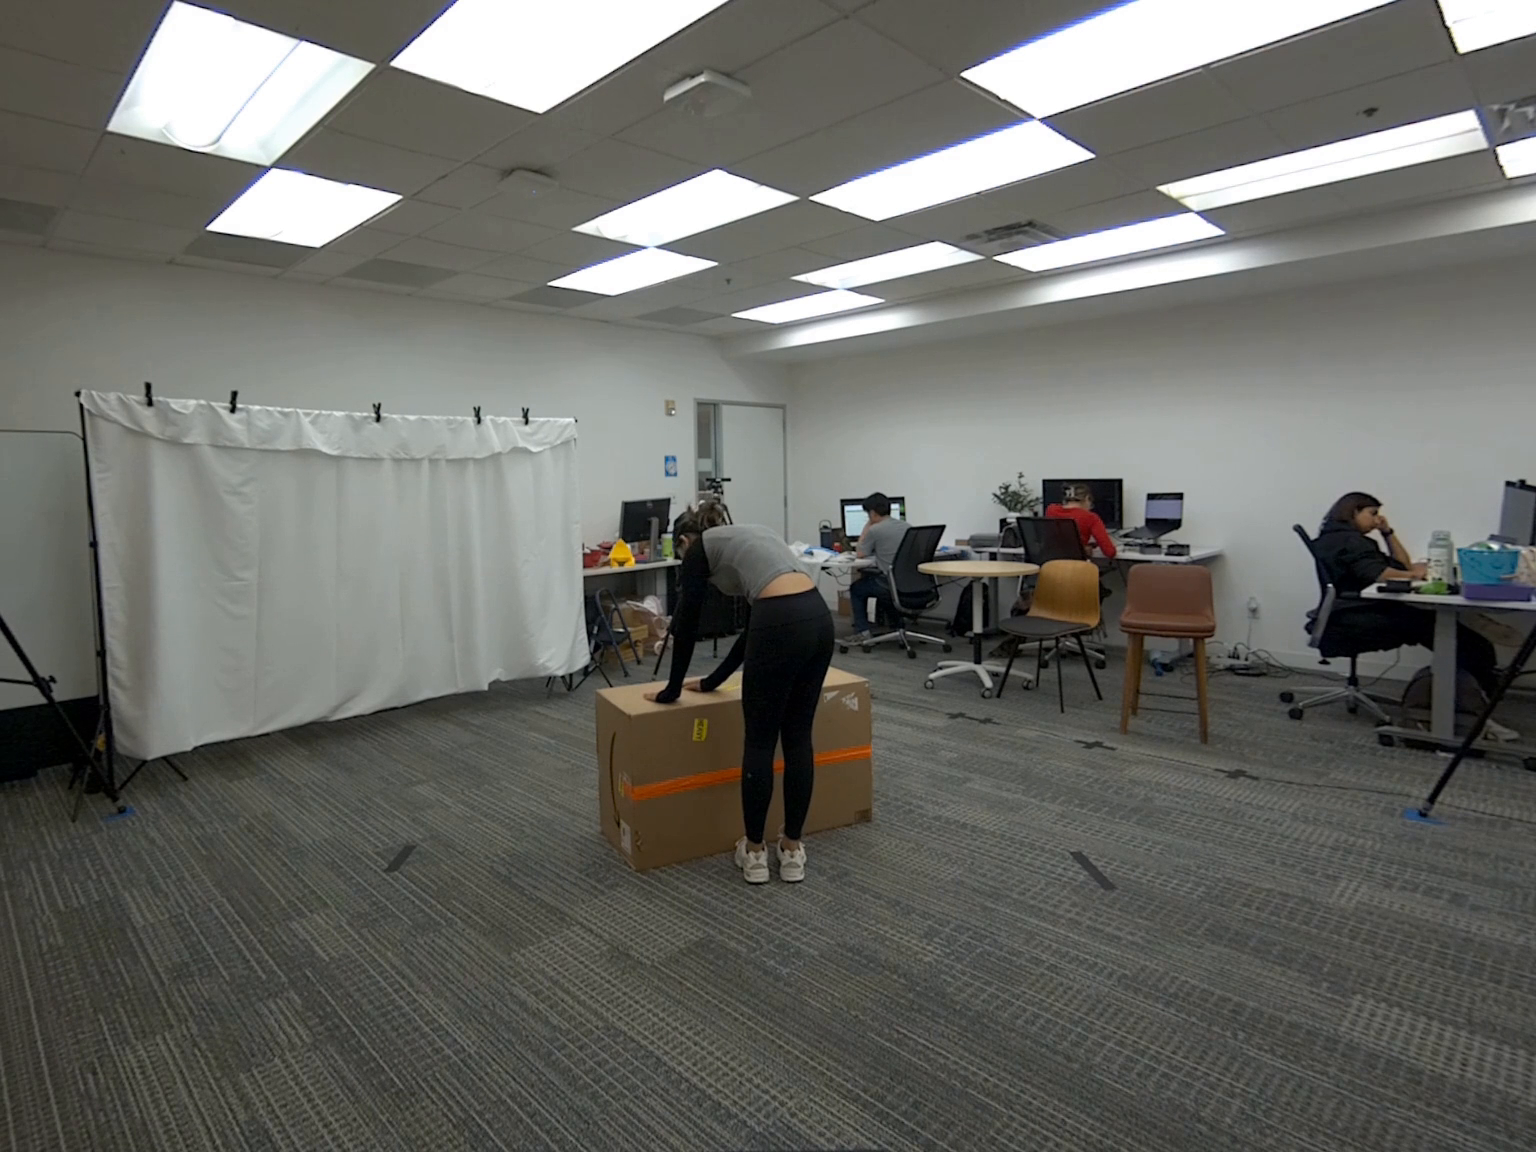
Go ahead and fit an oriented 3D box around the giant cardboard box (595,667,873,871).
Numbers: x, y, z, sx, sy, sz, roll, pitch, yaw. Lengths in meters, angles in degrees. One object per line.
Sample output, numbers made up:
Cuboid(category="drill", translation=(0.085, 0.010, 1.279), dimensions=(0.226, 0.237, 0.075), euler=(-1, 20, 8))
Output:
Cuboid(category="giant cardboard box", translation=(-0.132, 0.719, 3.429), dimensions=(1.005, 0.575, 0.437), euler=(-4, 5, -25))
